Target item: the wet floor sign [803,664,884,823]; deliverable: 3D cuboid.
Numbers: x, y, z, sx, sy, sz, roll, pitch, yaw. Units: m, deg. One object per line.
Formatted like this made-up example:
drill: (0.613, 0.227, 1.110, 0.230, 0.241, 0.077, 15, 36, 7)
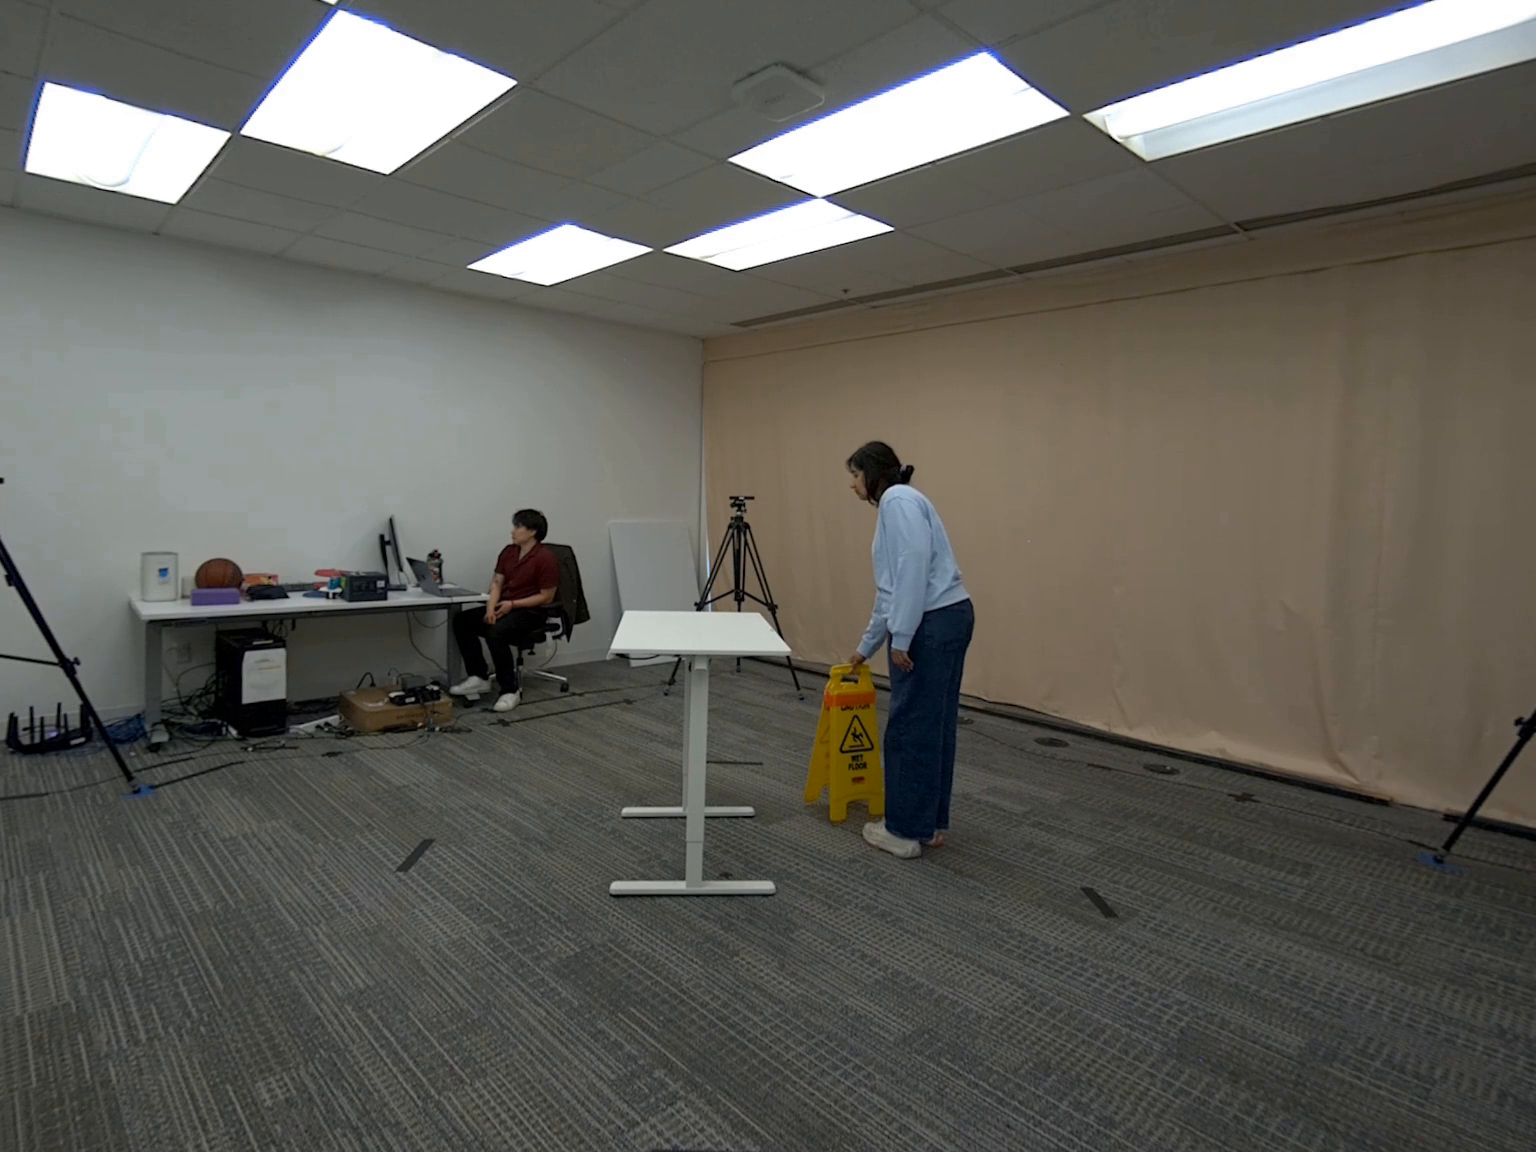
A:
wet floor sign: (0.350, 0.719, 3.777, 0.277, 0.645, 0.296, 2, 3, -25)
